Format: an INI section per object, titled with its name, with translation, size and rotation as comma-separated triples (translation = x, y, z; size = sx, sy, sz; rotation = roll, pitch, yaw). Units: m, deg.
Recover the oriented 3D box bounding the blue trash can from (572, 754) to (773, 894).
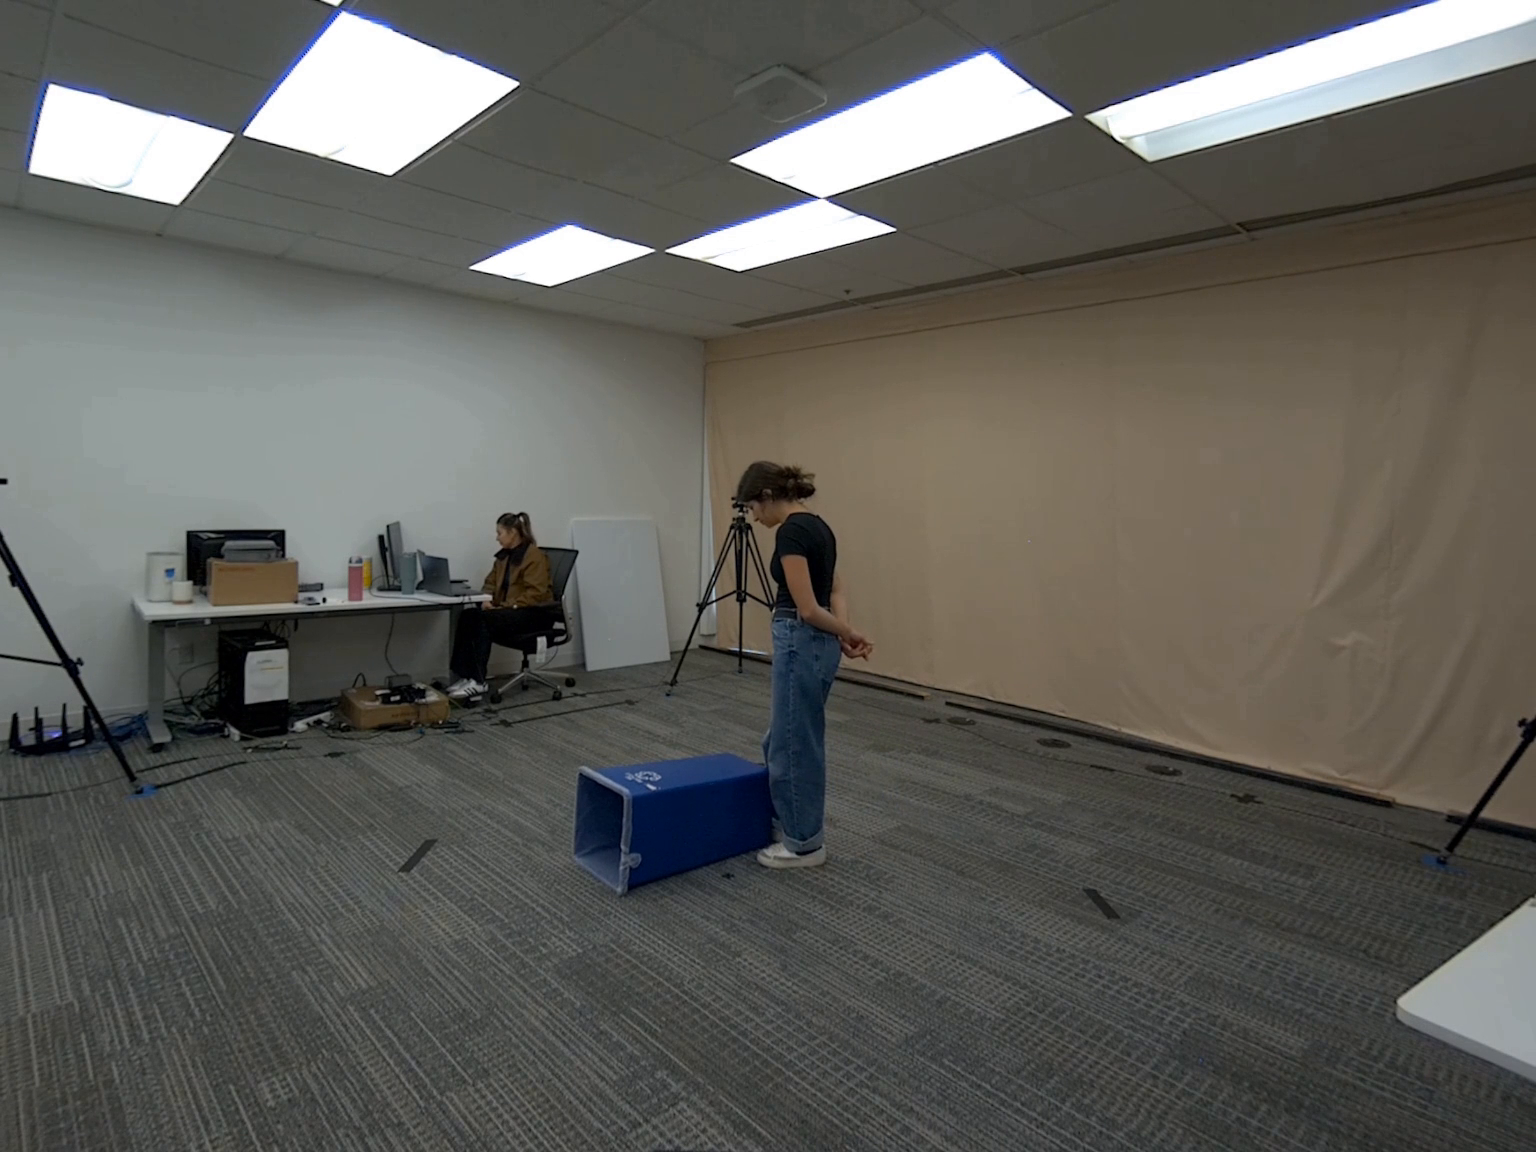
[blue trash can]
translation = -0.360, 0.921, 3.270
size = 0.696, 0.377, 0.383
rotation = 1, 3, -41
